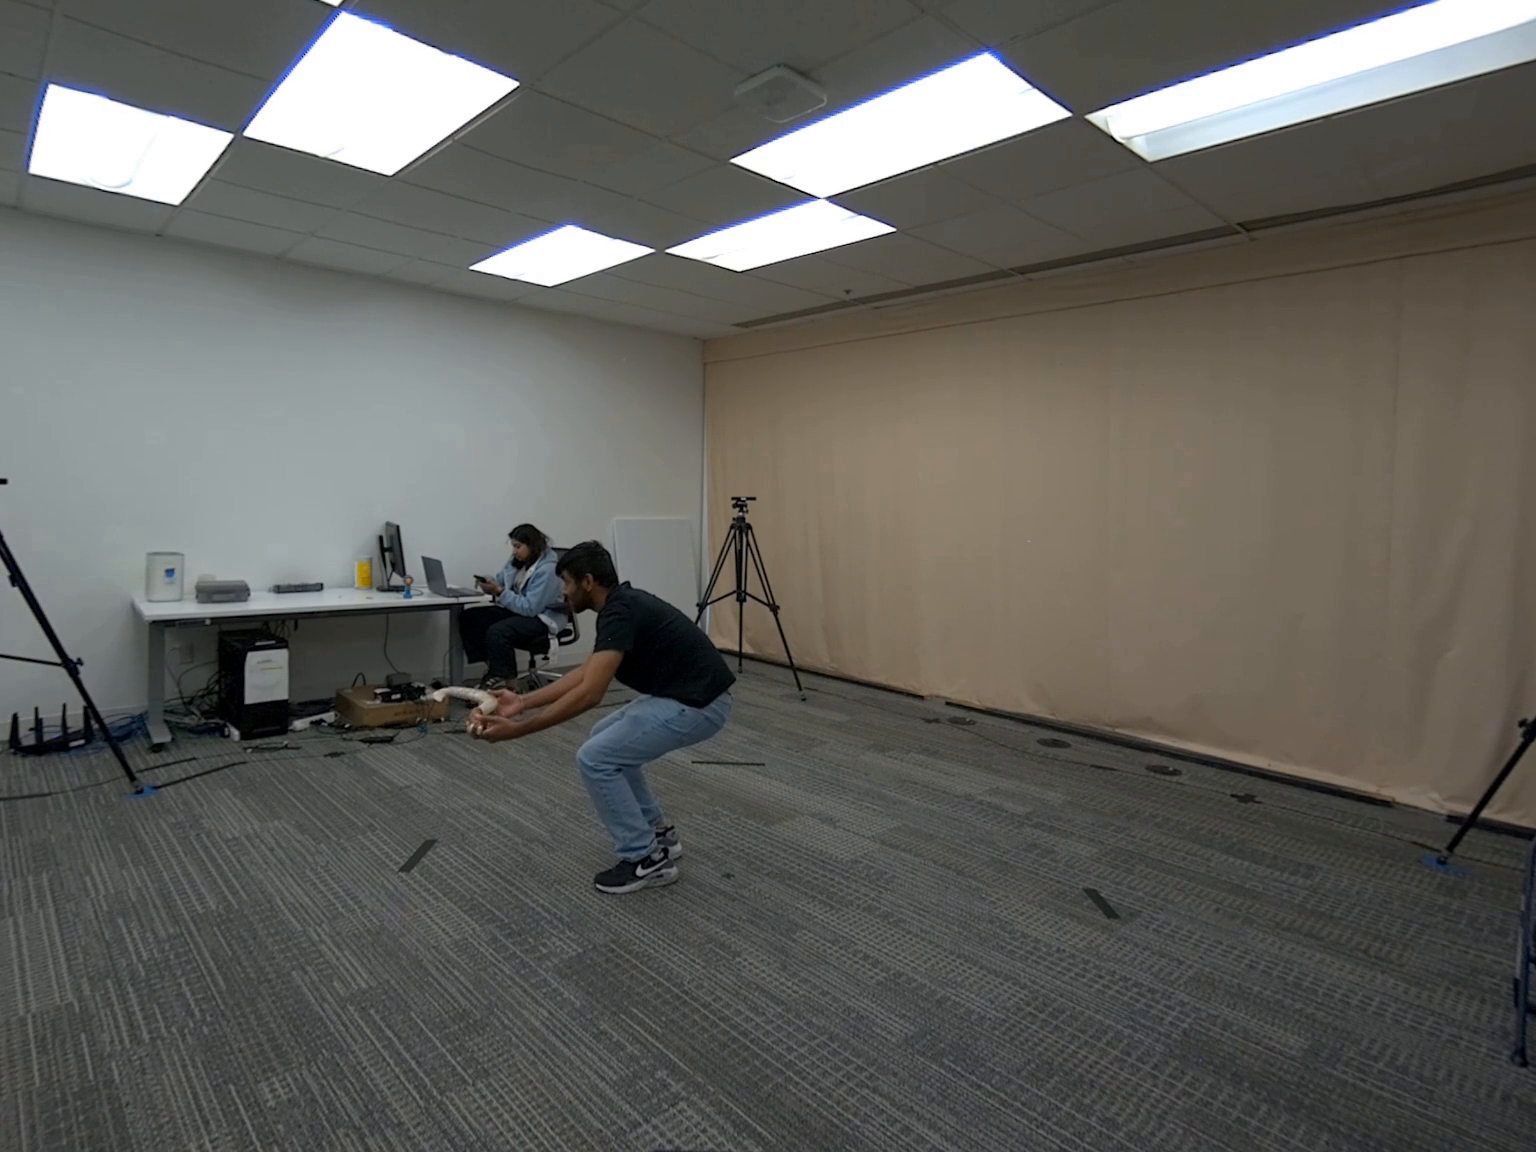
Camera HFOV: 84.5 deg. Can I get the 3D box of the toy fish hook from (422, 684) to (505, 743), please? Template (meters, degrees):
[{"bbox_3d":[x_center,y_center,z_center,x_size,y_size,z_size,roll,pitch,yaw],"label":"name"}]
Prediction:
[{"bbox_3d":[-1.027,0.460,2.887,0.222,0.048,0.513,10,2,-16],"label":"toy fish hook"}]
